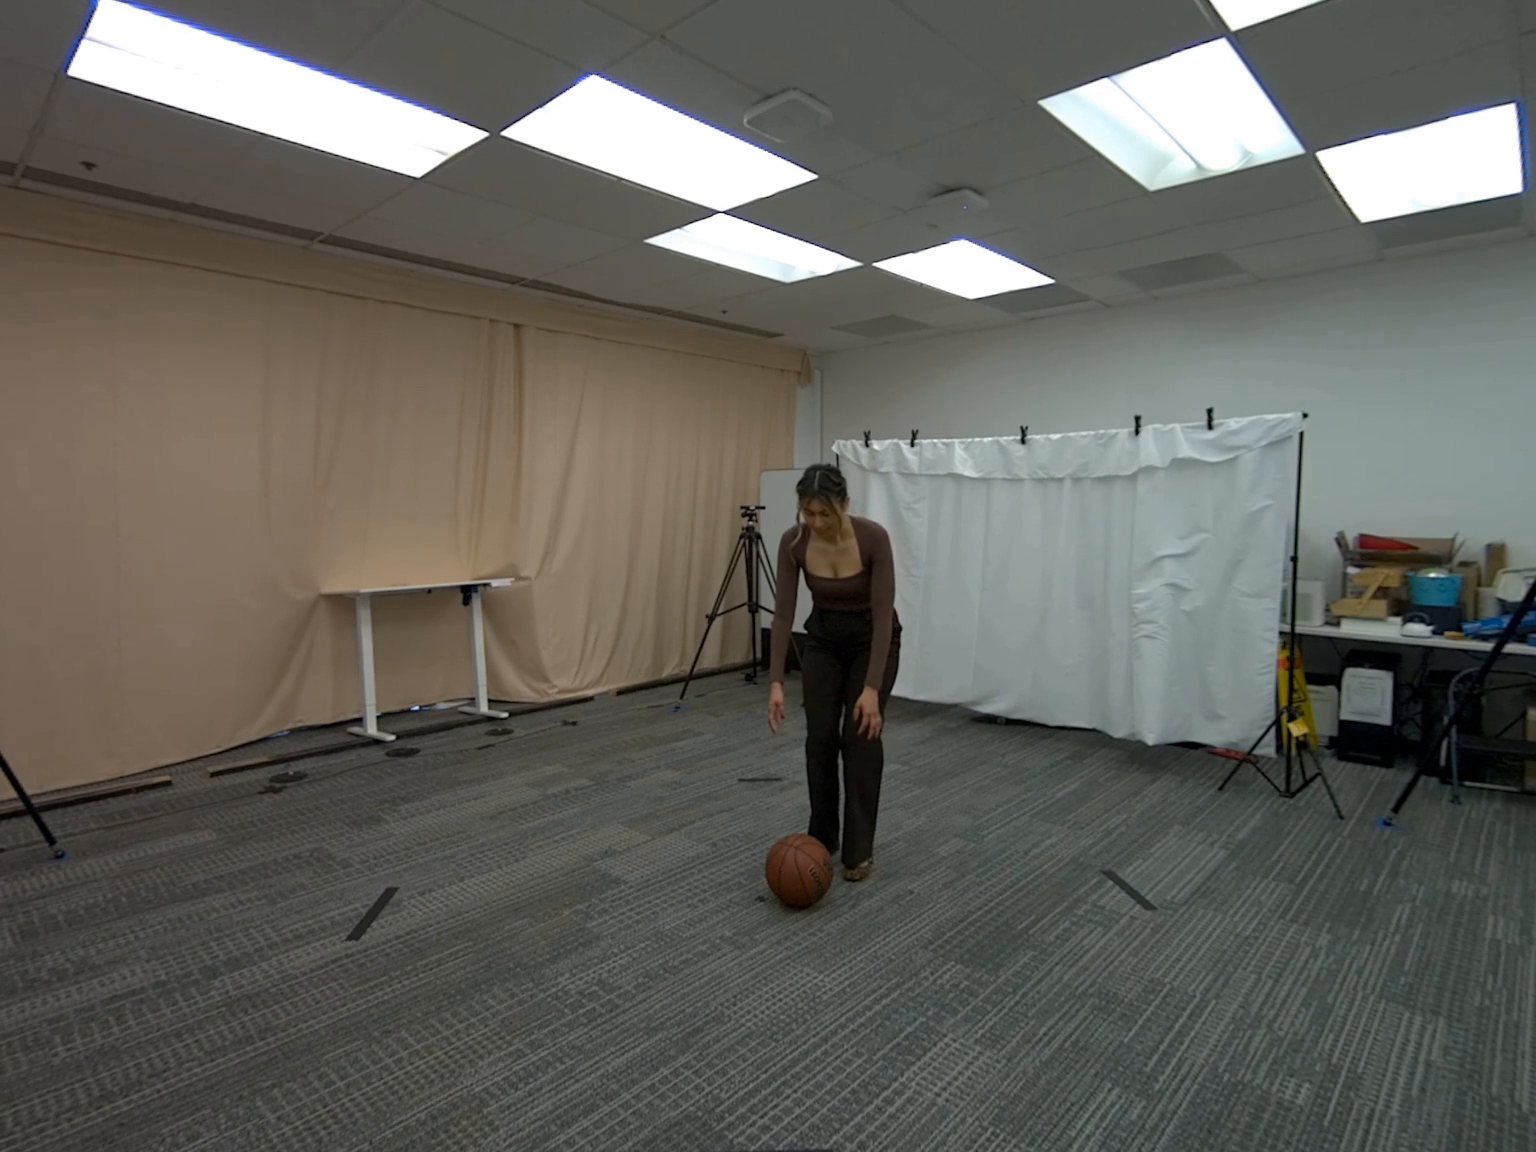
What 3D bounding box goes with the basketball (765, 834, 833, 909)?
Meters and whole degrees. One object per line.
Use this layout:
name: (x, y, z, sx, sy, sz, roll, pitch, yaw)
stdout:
basketball: (0.110, 1.026, 2.946, 0.236, 0.235, 0.237, 0, 4, -2)
